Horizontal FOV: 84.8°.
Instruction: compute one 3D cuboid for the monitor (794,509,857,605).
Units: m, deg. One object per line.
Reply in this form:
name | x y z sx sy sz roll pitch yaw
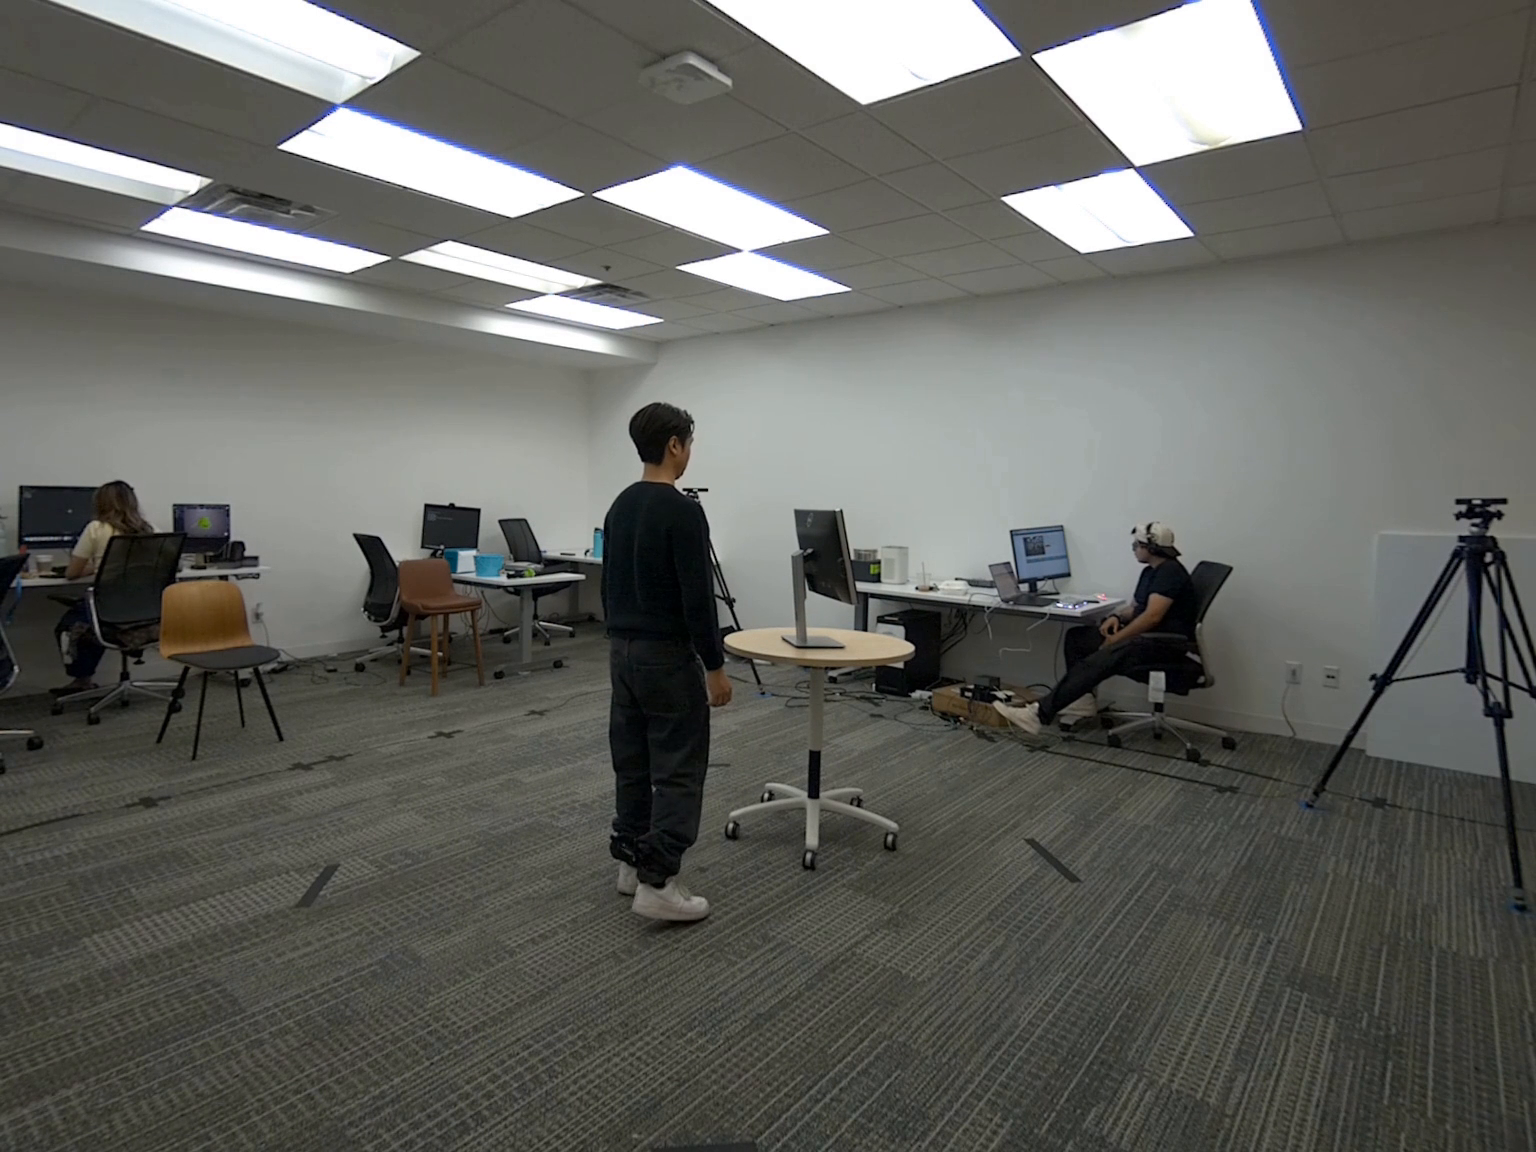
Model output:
monitor | 0.178 0.001 3.401 0.172 0.515 0.539 4 2 -15
